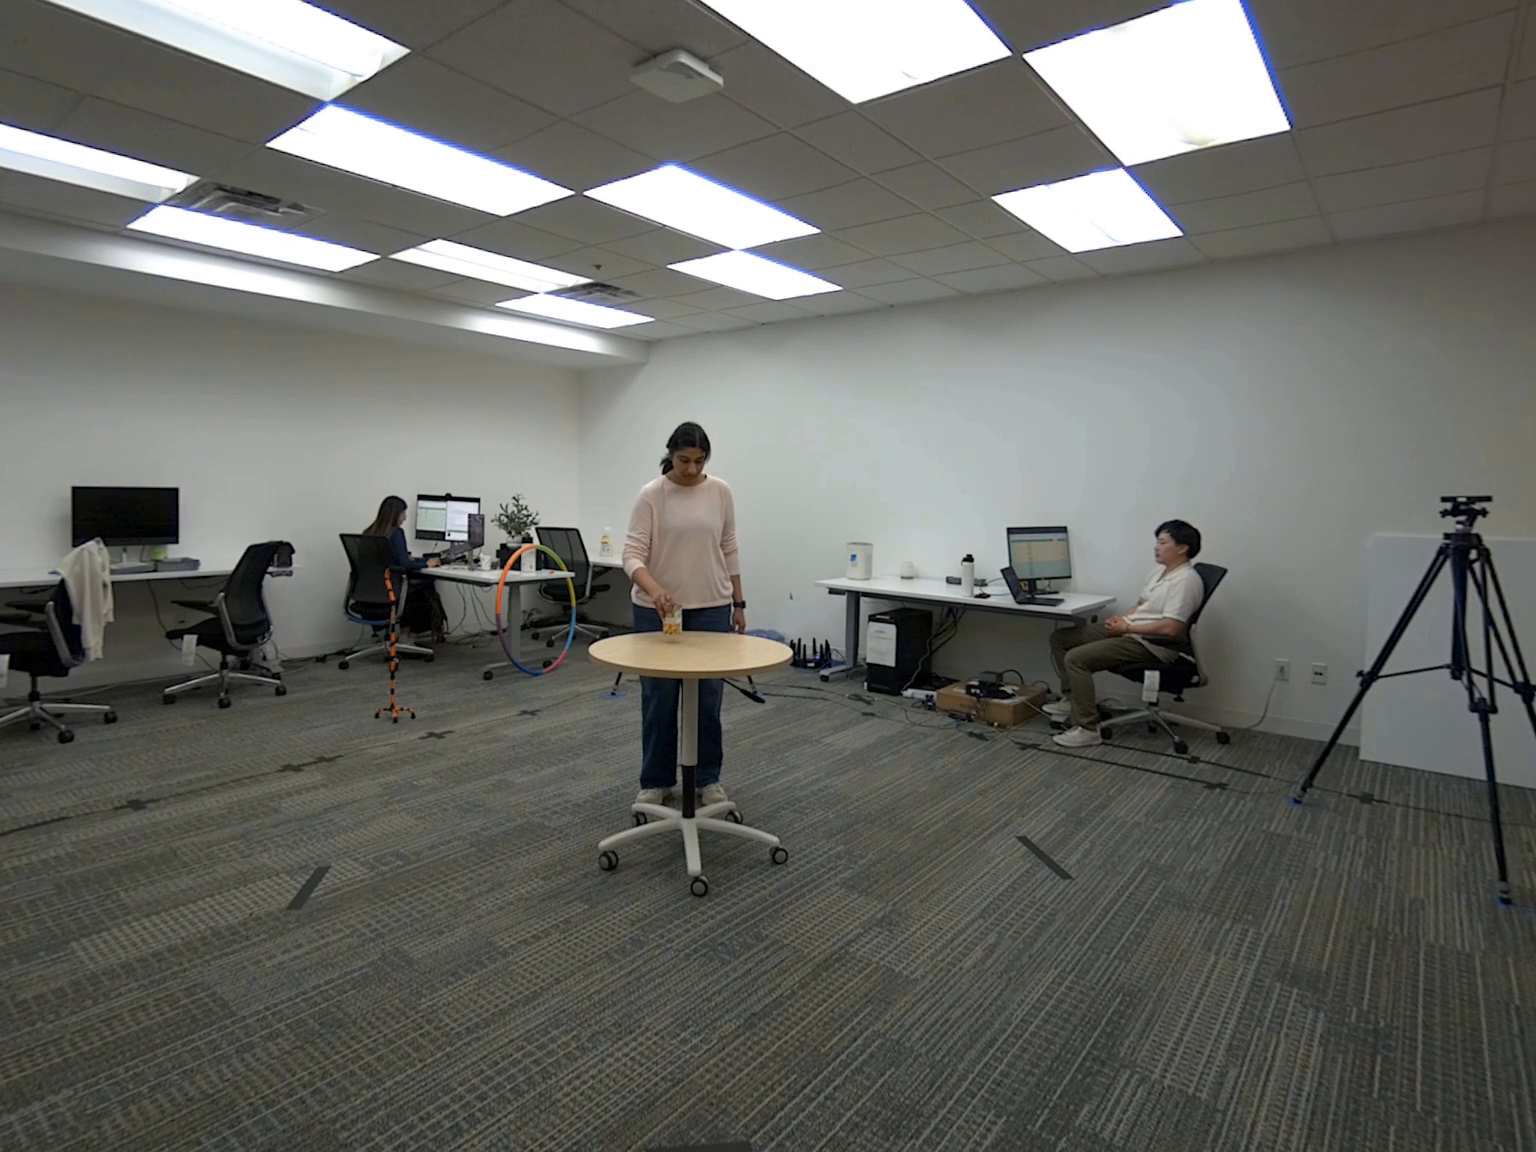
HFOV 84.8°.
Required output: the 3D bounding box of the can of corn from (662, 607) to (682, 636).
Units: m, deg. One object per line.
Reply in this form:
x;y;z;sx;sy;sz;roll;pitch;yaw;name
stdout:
-0.391;0.171;3.339;0.074;0.111;0.074;2;-1;-2;can of corn
